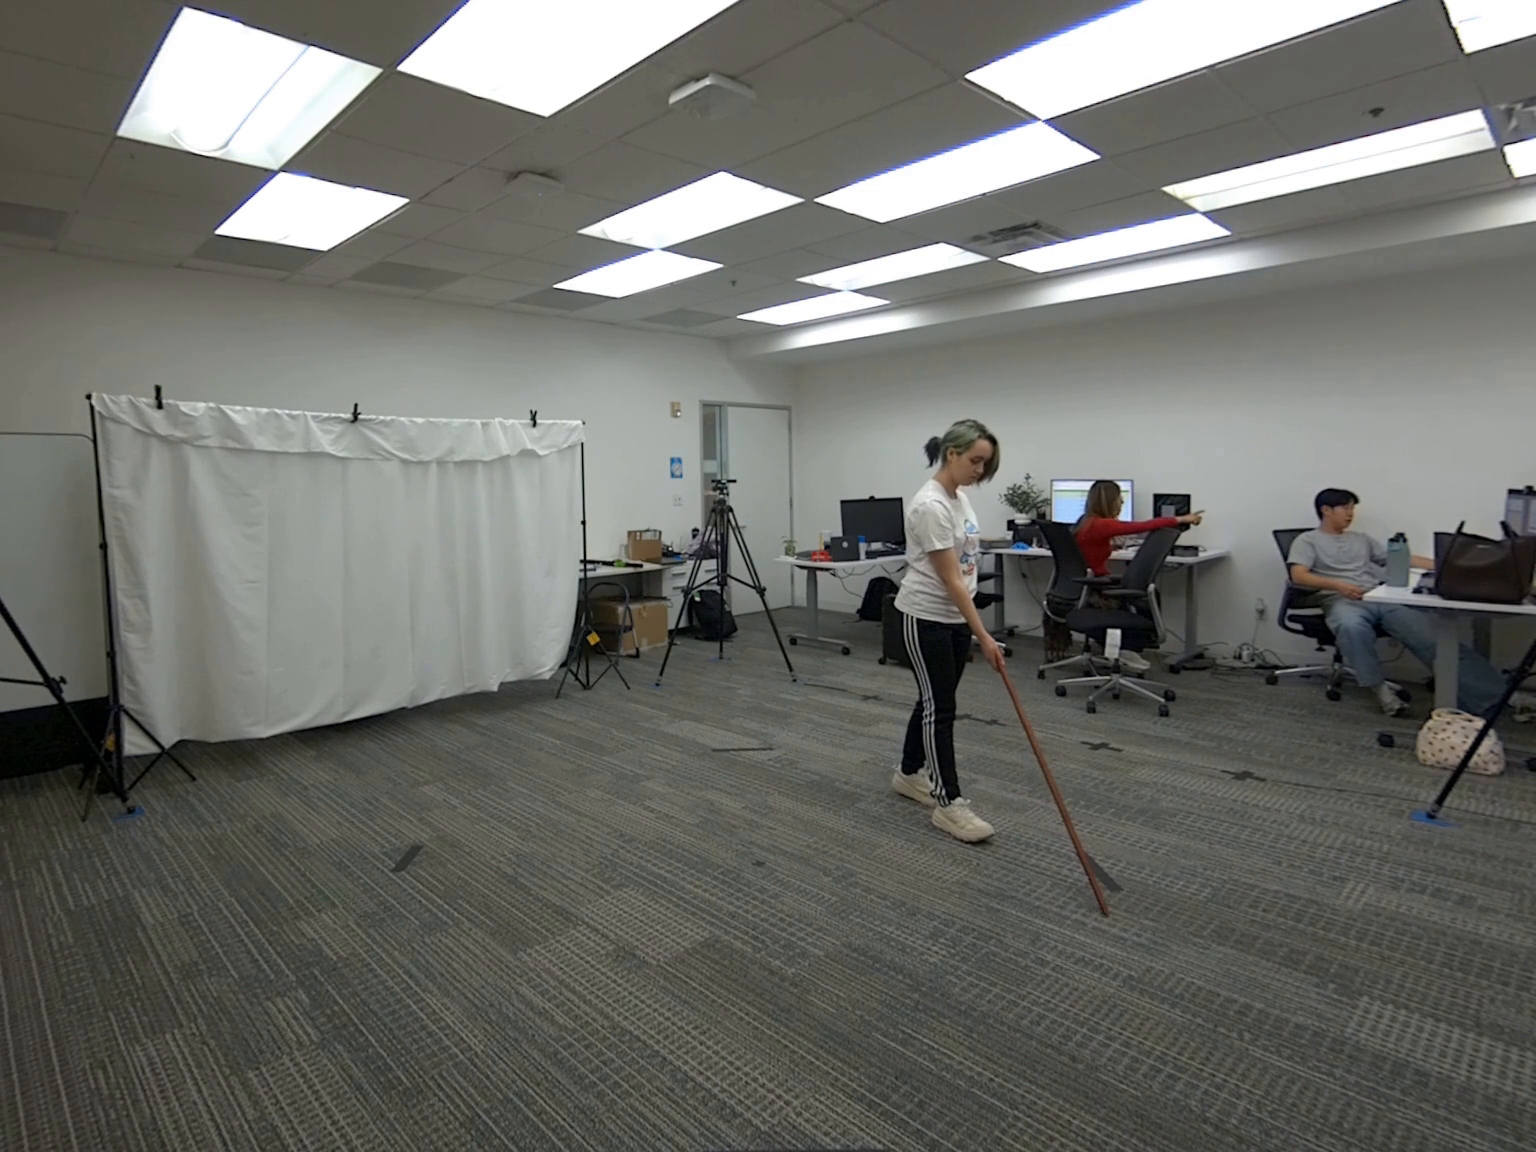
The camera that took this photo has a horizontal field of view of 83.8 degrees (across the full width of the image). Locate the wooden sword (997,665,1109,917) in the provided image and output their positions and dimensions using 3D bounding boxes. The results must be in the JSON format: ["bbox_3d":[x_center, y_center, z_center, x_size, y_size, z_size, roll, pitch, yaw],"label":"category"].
[{"bbox_3d":[0.965,0.663,3.009,0.050,1.059,0.024,-4,-37,-19],"label":"wooden sword"}]
